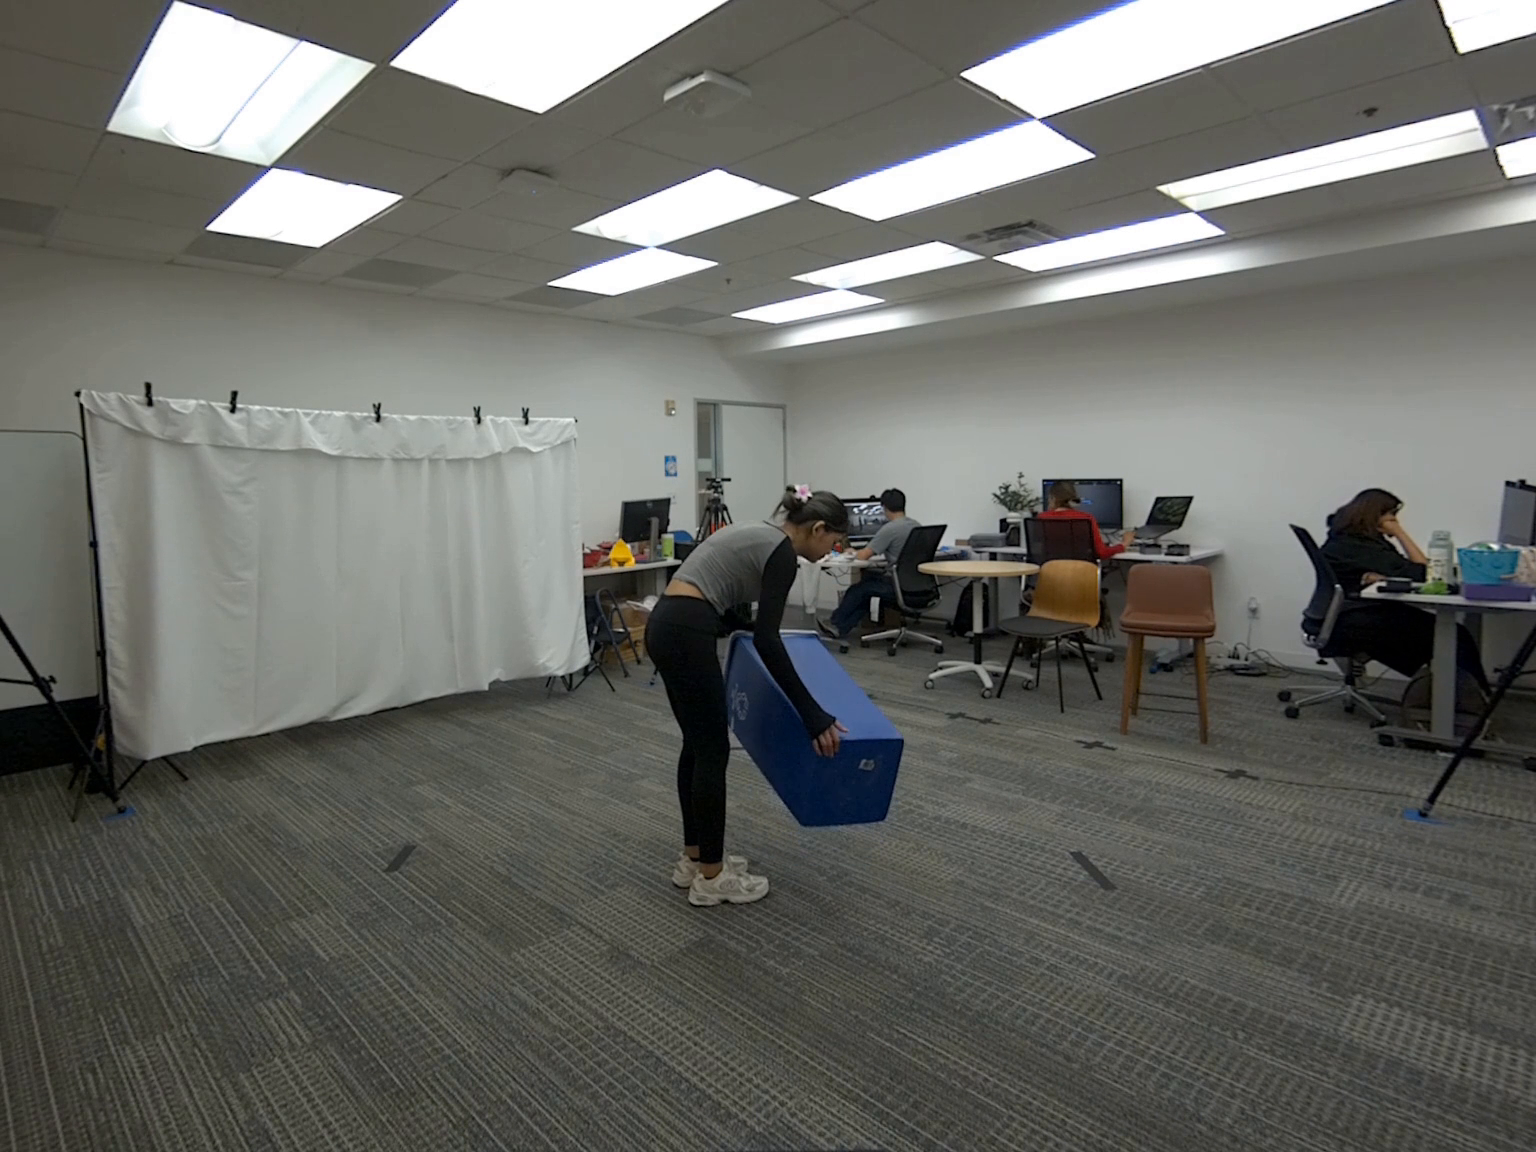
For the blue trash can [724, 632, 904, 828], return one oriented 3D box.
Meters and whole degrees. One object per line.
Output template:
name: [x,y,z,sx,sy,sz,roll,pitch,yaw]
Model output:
blue trash can: [0.139,0.501,2.923,0.370,0.369,0.737,2,19,-23]
